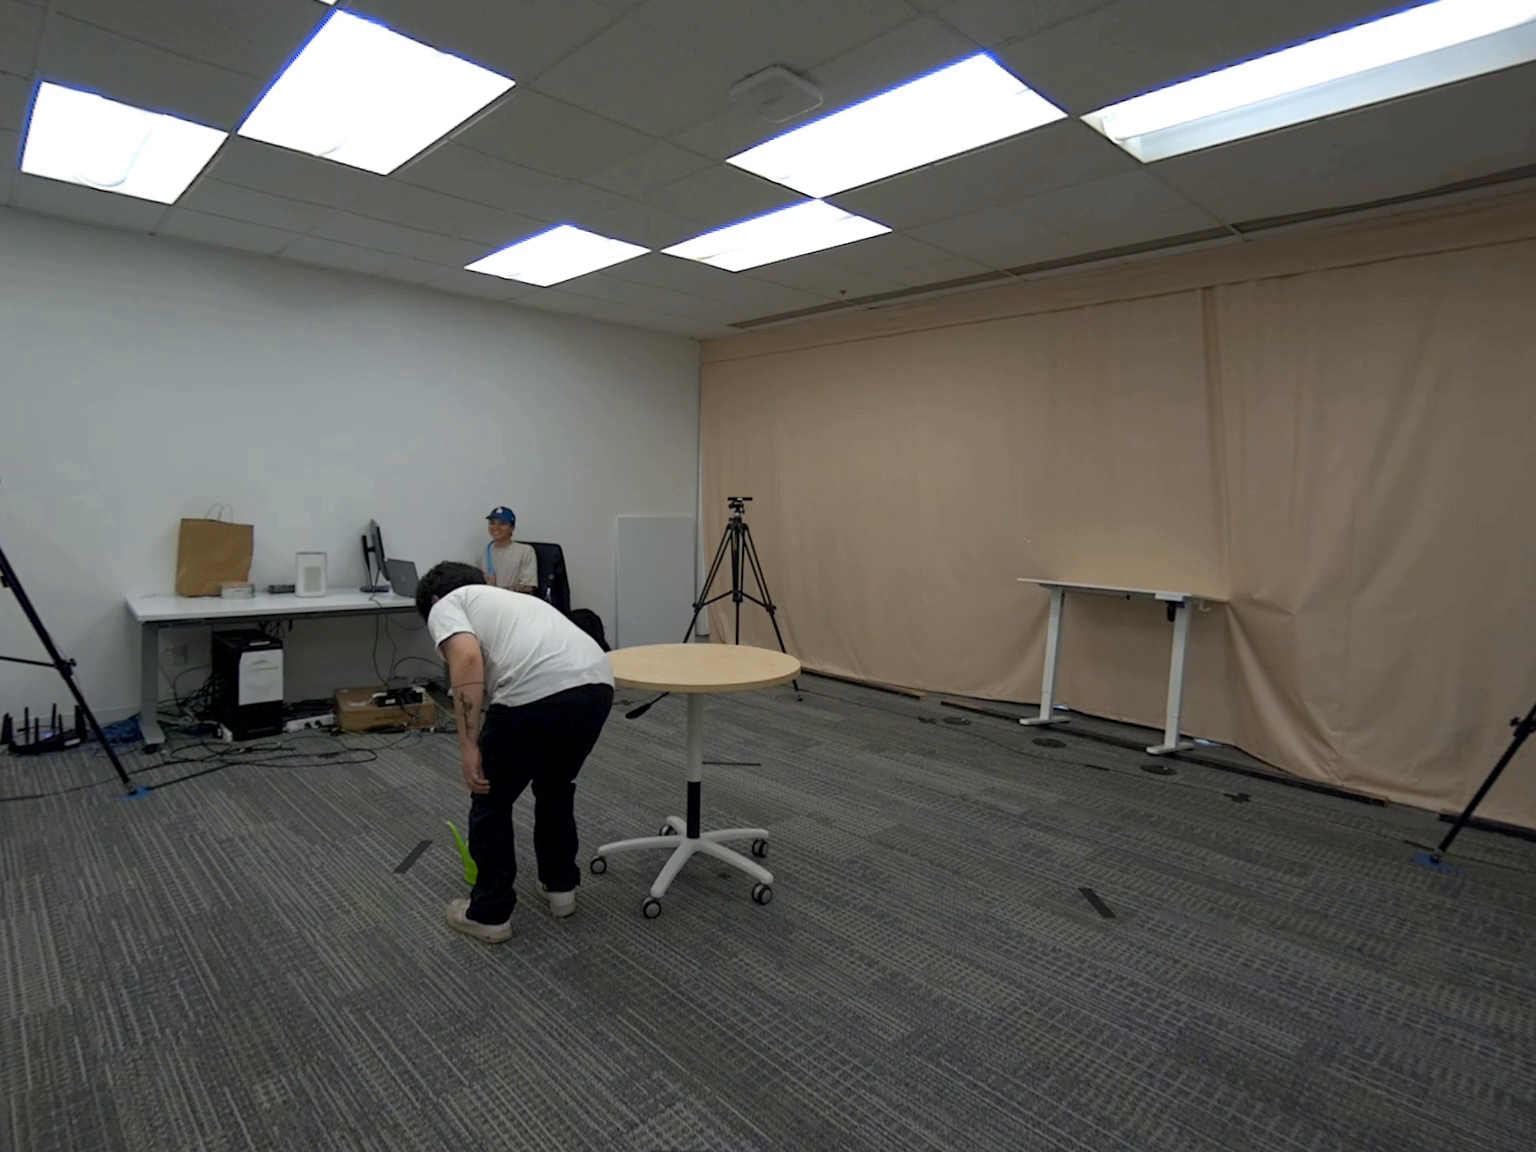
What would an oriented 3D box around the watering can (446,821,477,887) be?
[{"bbox_3d":[-1.078,1.009,3.045,0.285,0.176,0.096,8,6,41],"label":"watering can"}]
